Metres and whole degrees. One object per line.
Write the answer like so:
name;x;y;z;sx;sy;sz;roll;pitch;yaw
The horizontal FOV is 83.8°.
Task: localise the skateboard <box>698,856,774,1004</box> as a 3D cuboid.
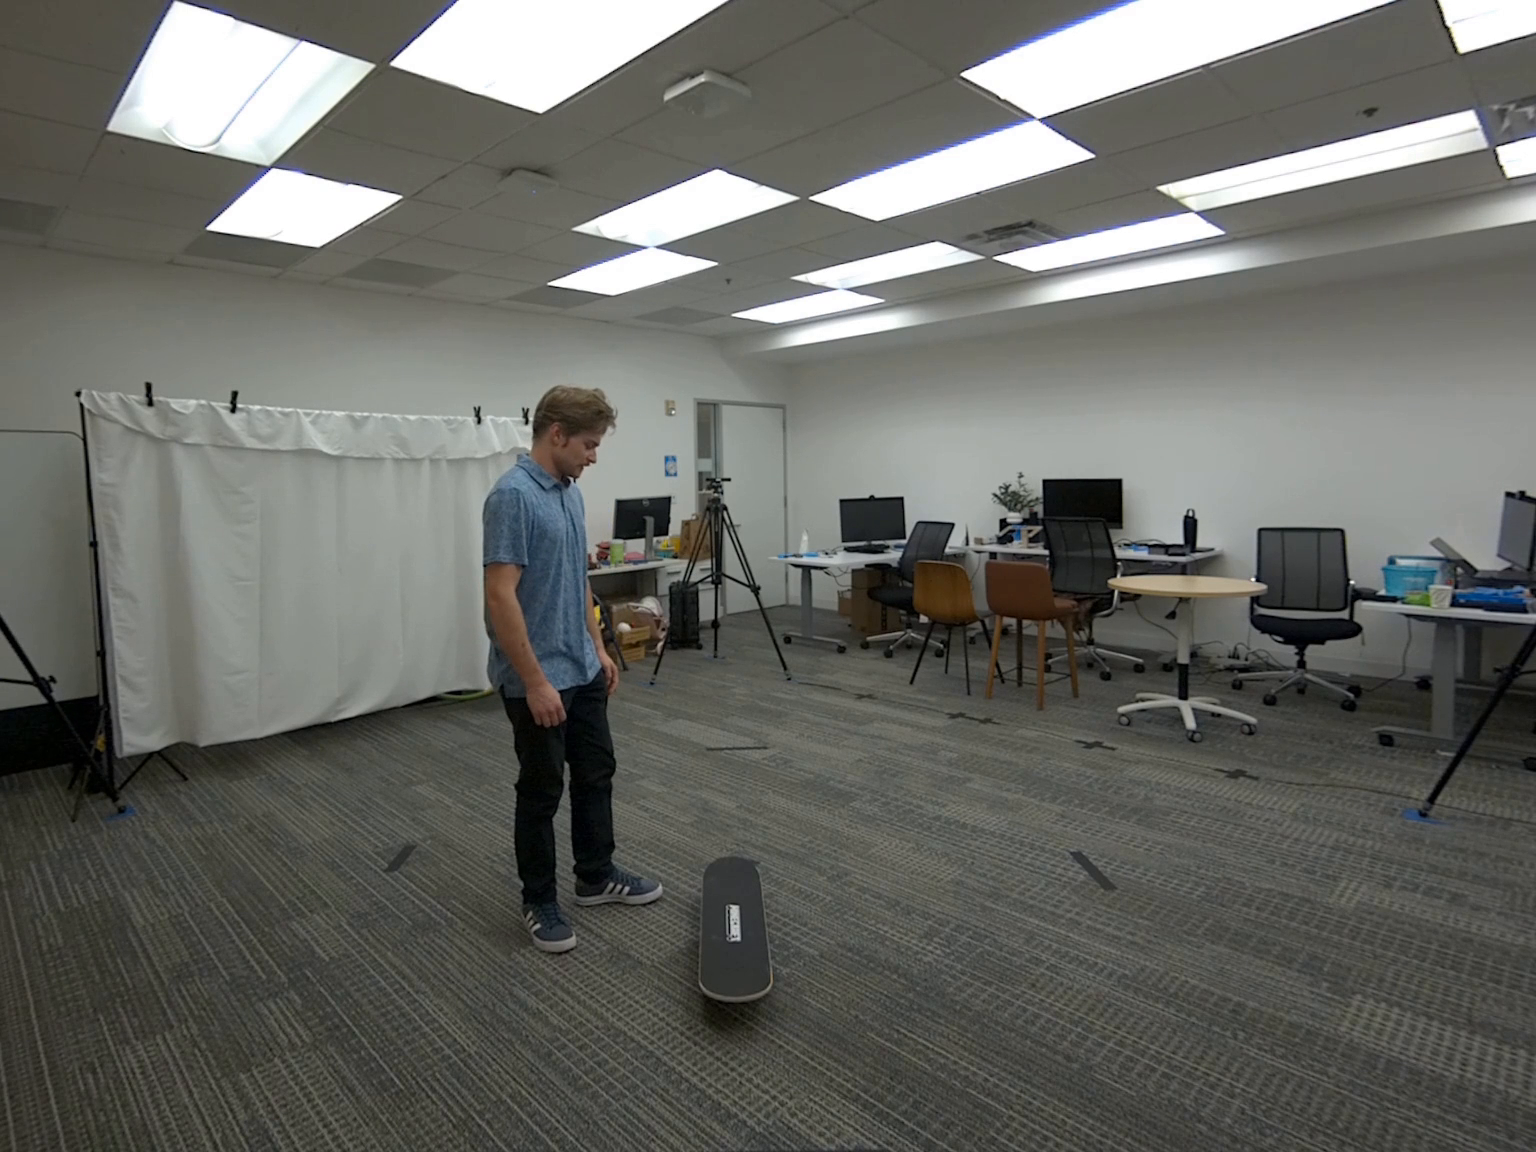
skateboard;-0.097;1.055;2.524;0.193;0.110;0.790;-1;7;-3
